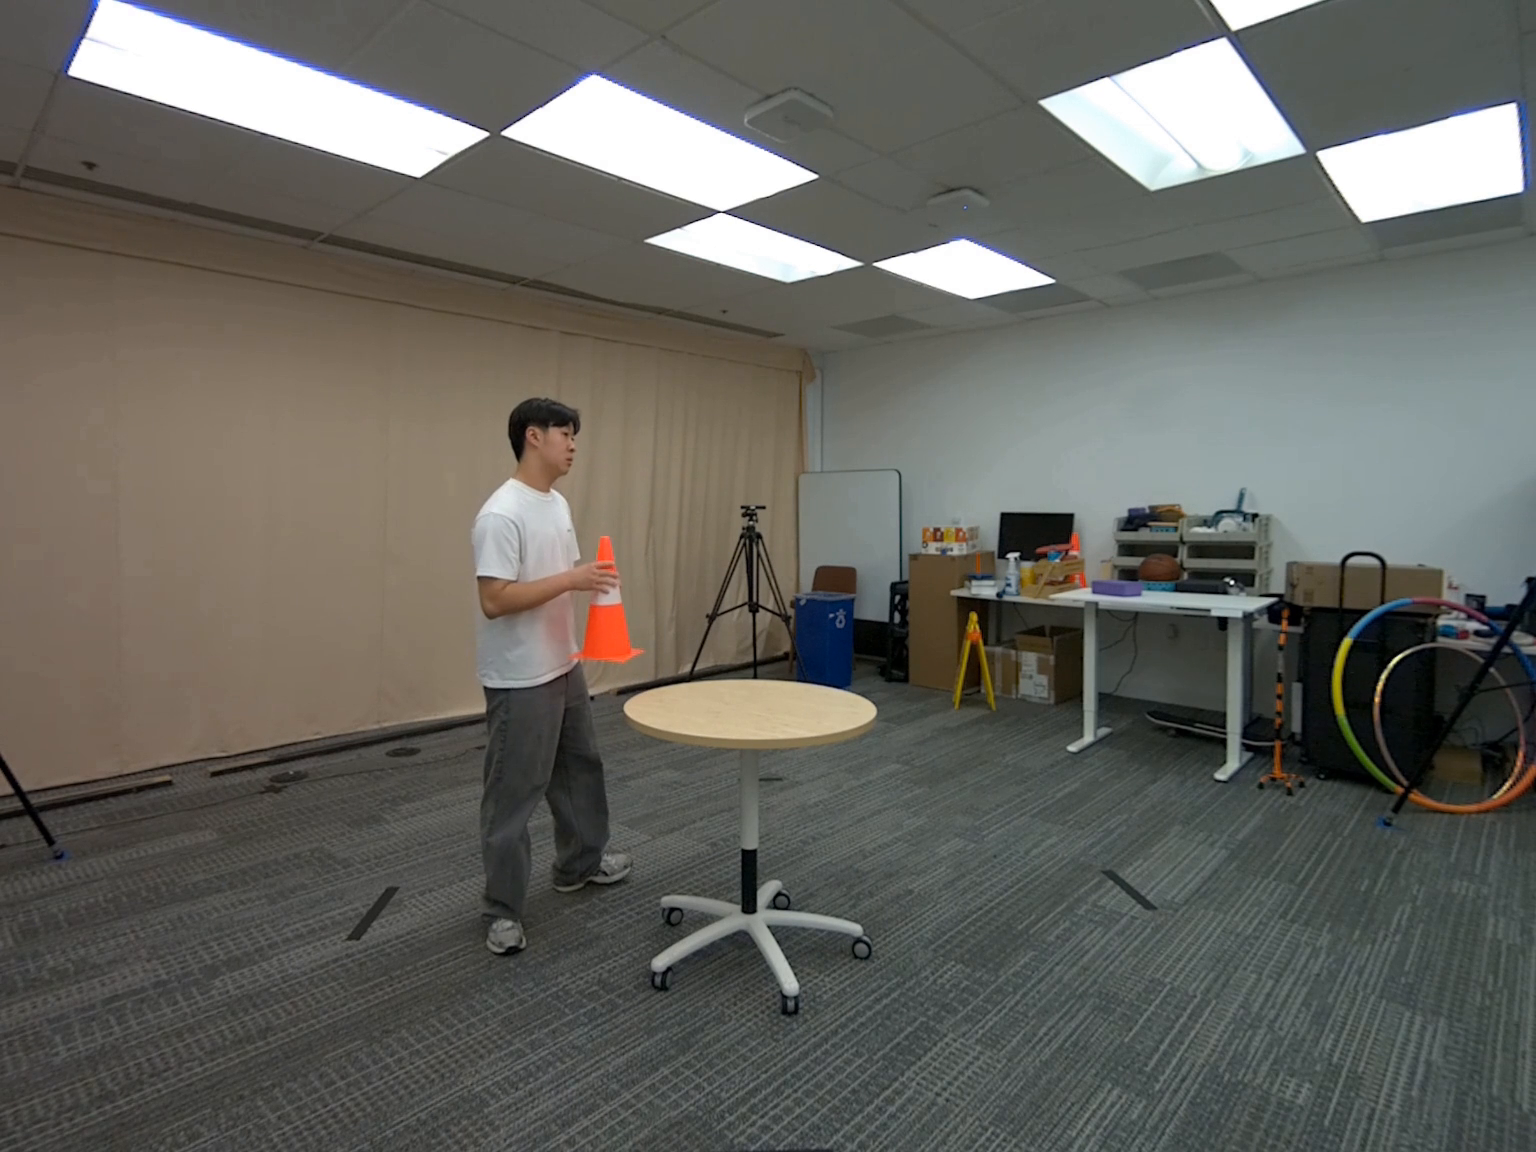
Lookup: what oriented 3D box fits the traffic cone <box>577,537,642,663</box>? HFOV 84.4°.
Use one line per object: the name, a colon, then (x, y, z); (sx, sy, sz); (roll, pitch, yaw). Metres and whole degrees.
traffic cone: (-0.527, 0.065, 2.717); (0.201, 0.383, 0.207); (-2, 3, -19)
